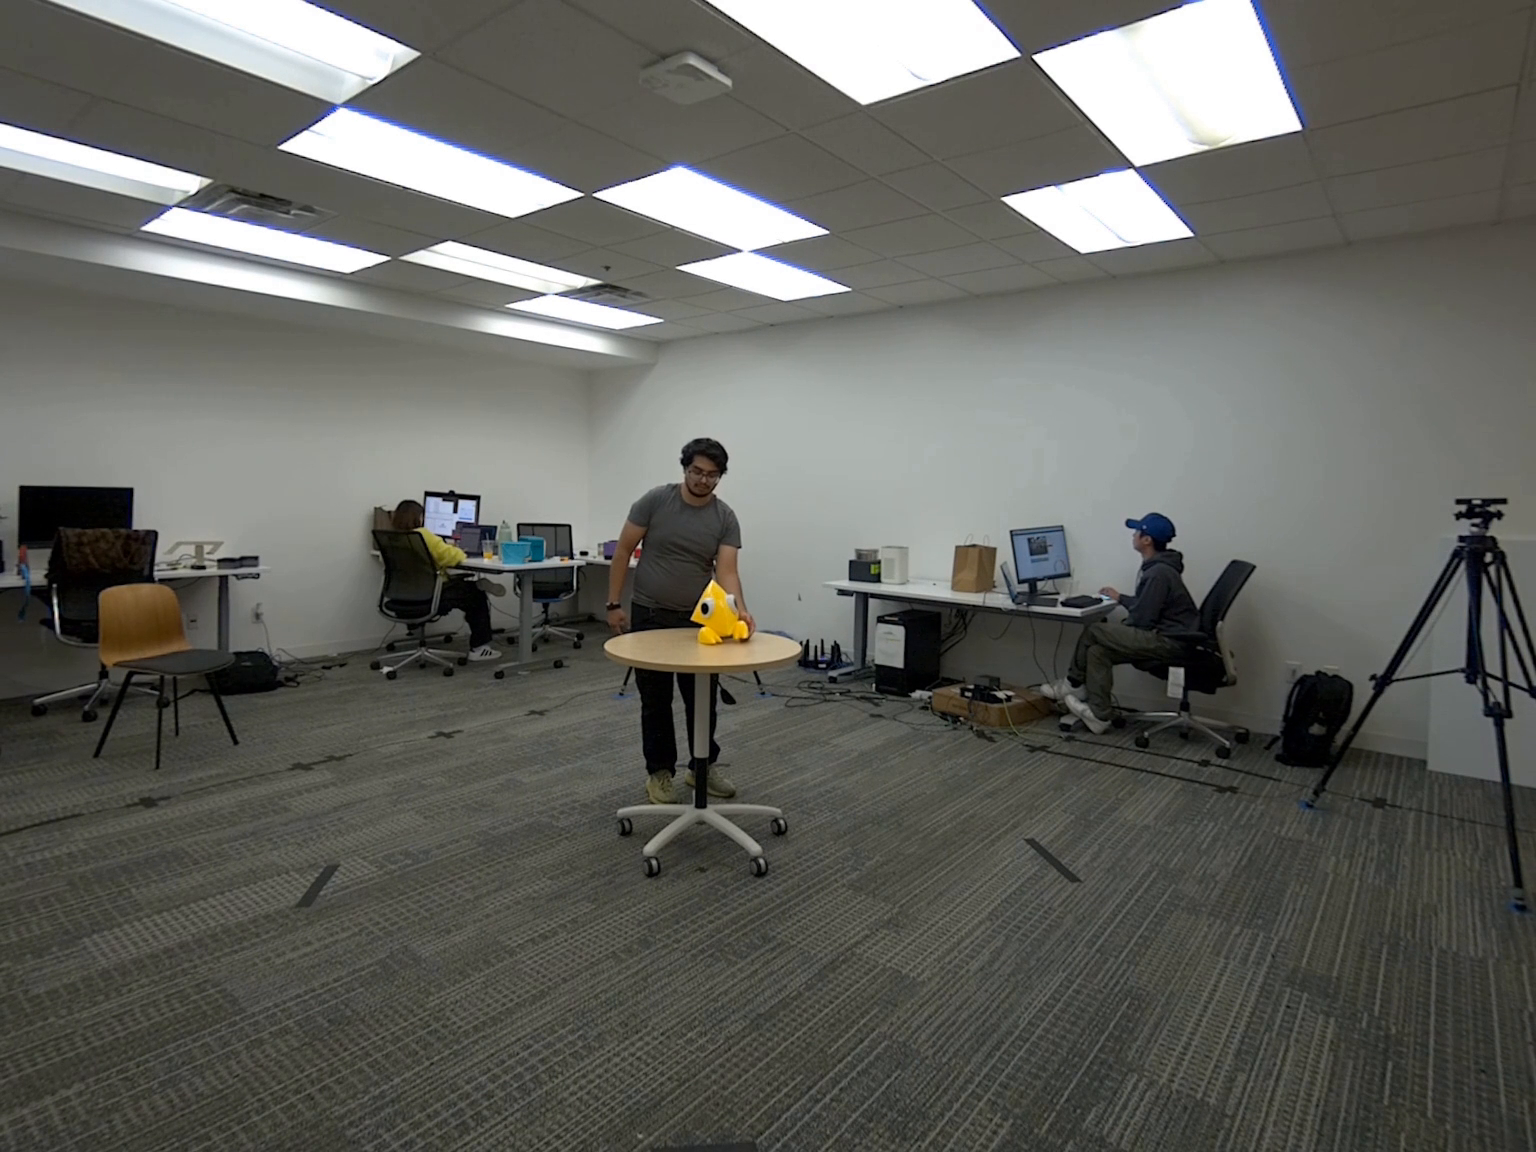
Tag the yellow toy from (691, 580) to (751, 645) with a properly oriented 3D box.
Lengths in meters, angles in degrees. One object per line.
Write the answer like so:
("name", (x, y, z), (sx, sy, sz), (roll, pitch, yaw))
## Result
("yellow toy", (-0.214, 0.136, 3.391), (0.202, 0.229, 0.197), (-9, 6, -18))
